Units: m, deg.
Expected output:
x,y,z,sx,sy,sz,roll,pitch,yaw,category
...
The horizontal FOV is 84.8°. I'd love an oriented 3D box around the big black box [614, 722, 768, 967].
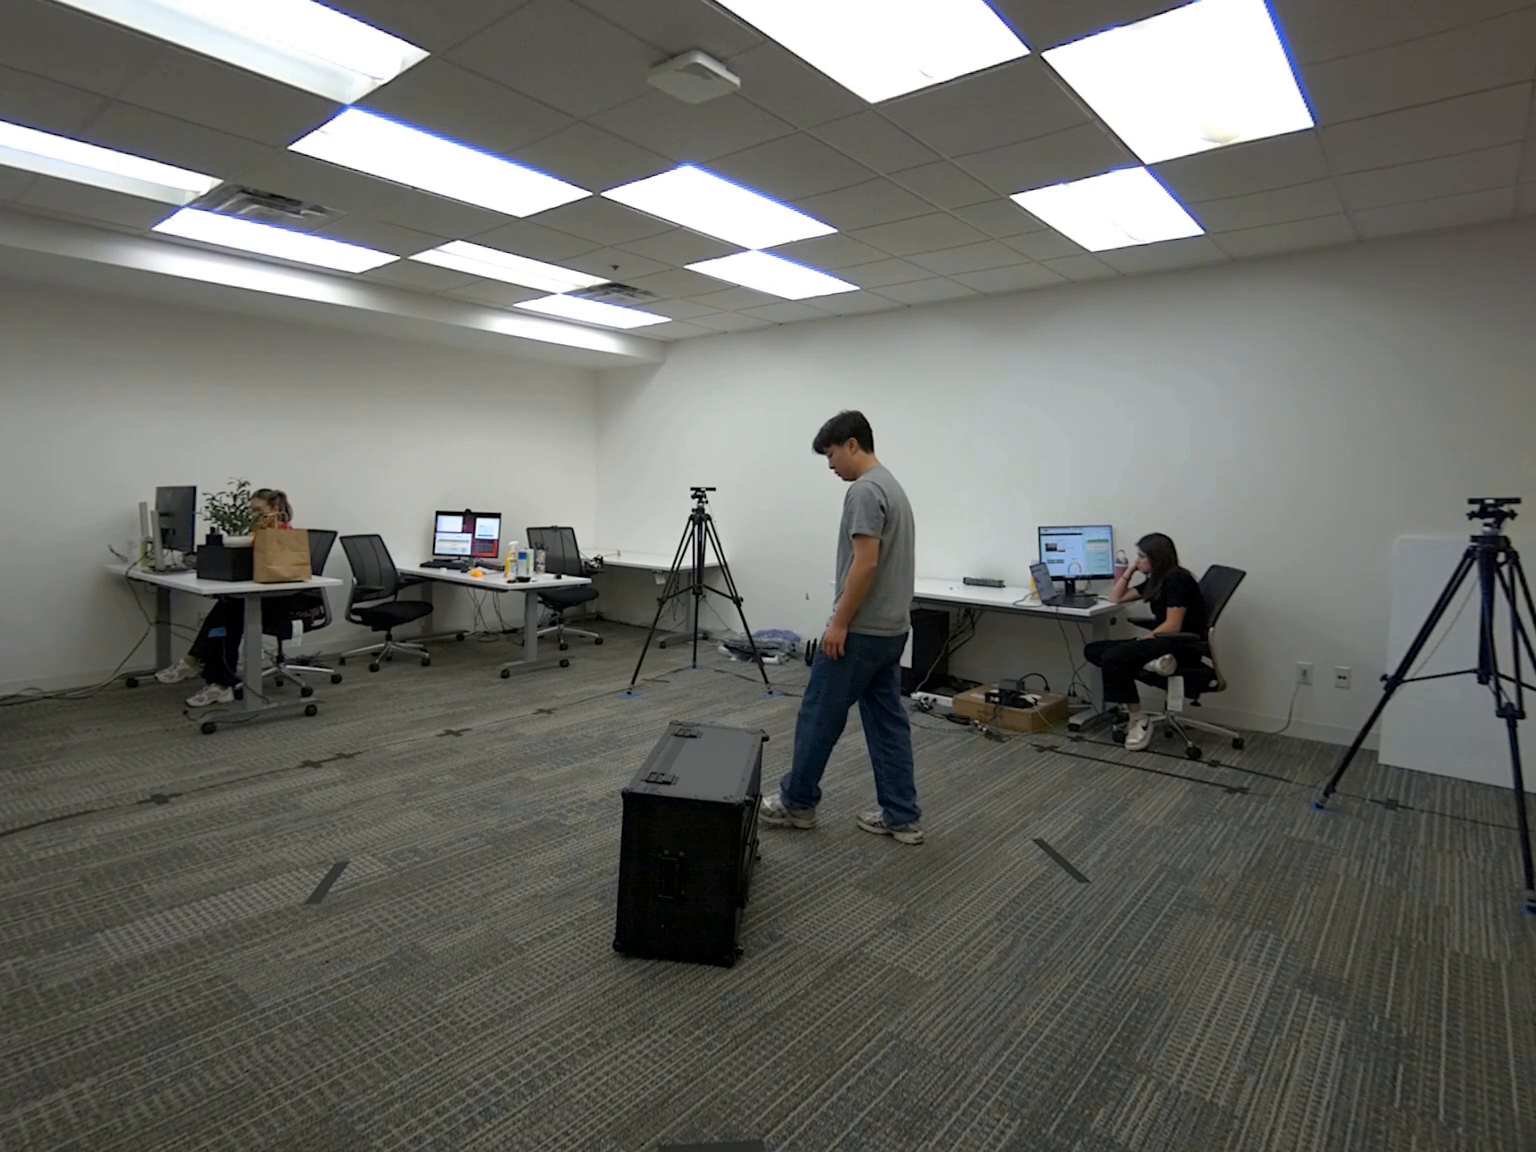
x,y,z,sx,sy,sz,roll,pitch,yaw,category
-0.233,0.841,2.819,0.399,0.519,0.858,3,5,5,big black box
